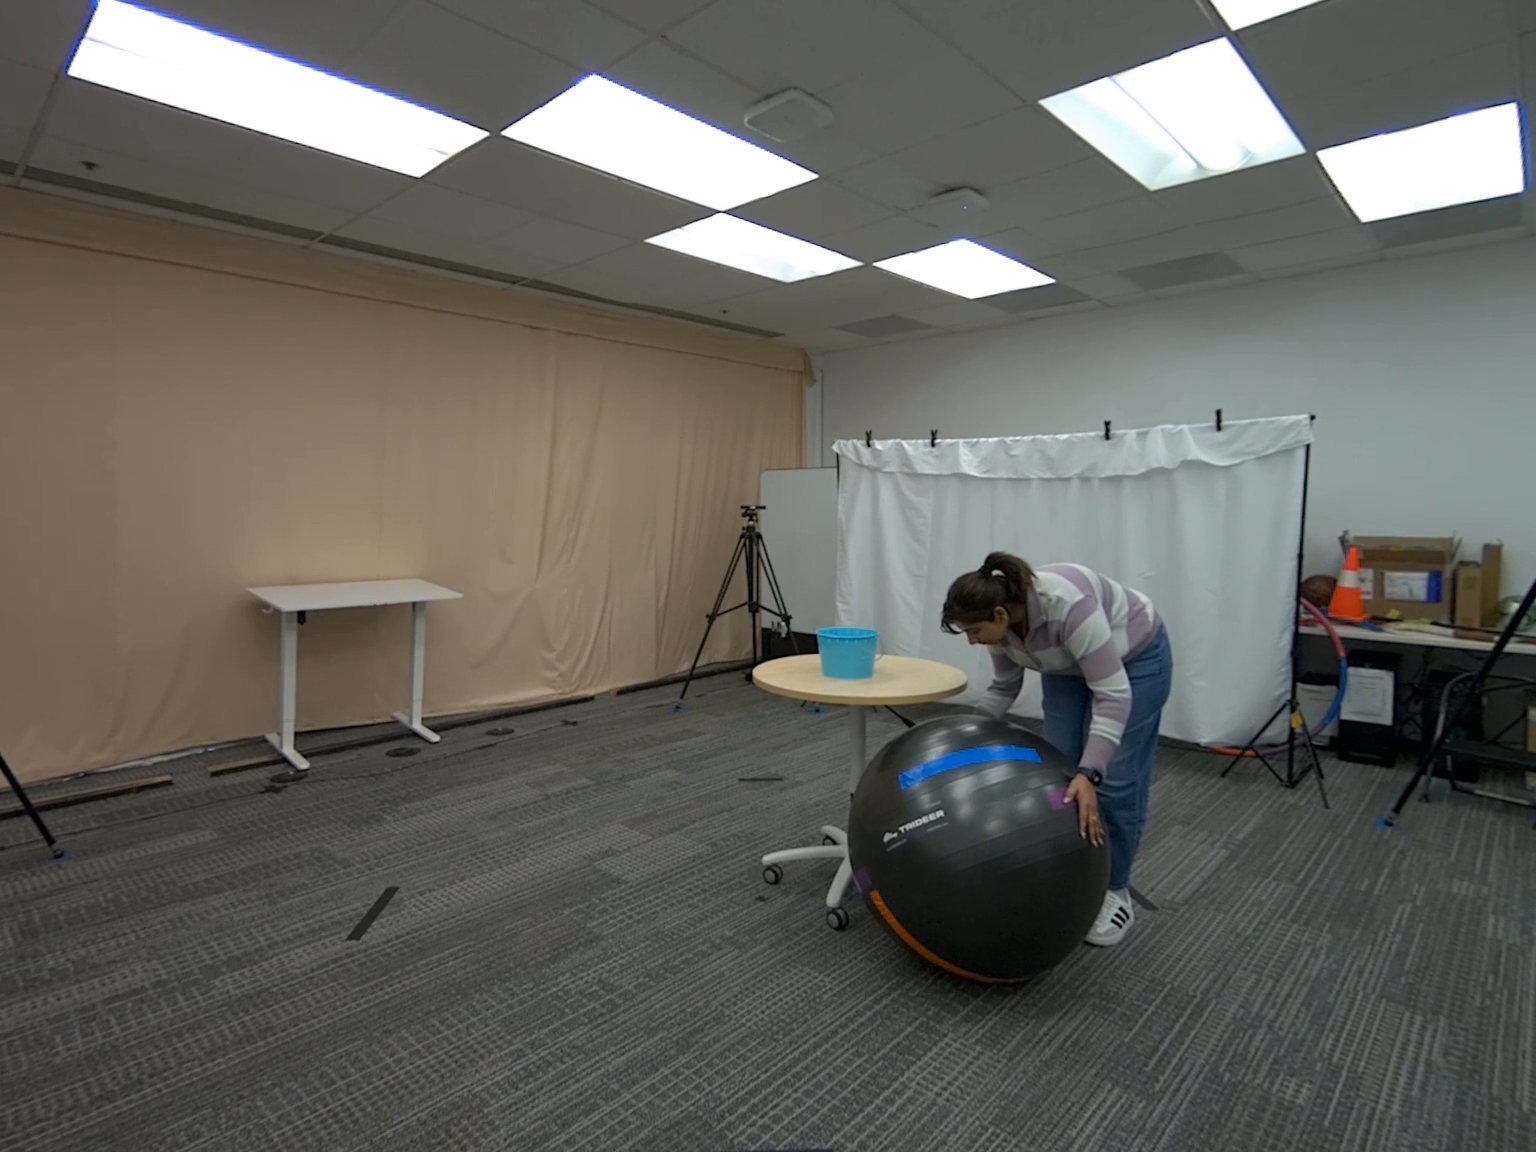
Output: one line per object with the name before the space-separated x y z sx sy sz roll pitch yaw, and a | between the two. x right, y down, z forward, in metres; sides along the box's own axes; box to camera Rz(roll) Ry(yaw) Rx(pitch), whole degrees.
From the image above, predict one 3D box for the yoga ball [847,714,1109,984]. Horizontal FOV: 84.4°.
yoga ball | 0.629 0.811 2.555 0.757 0.756 0.760 0 4 -2
